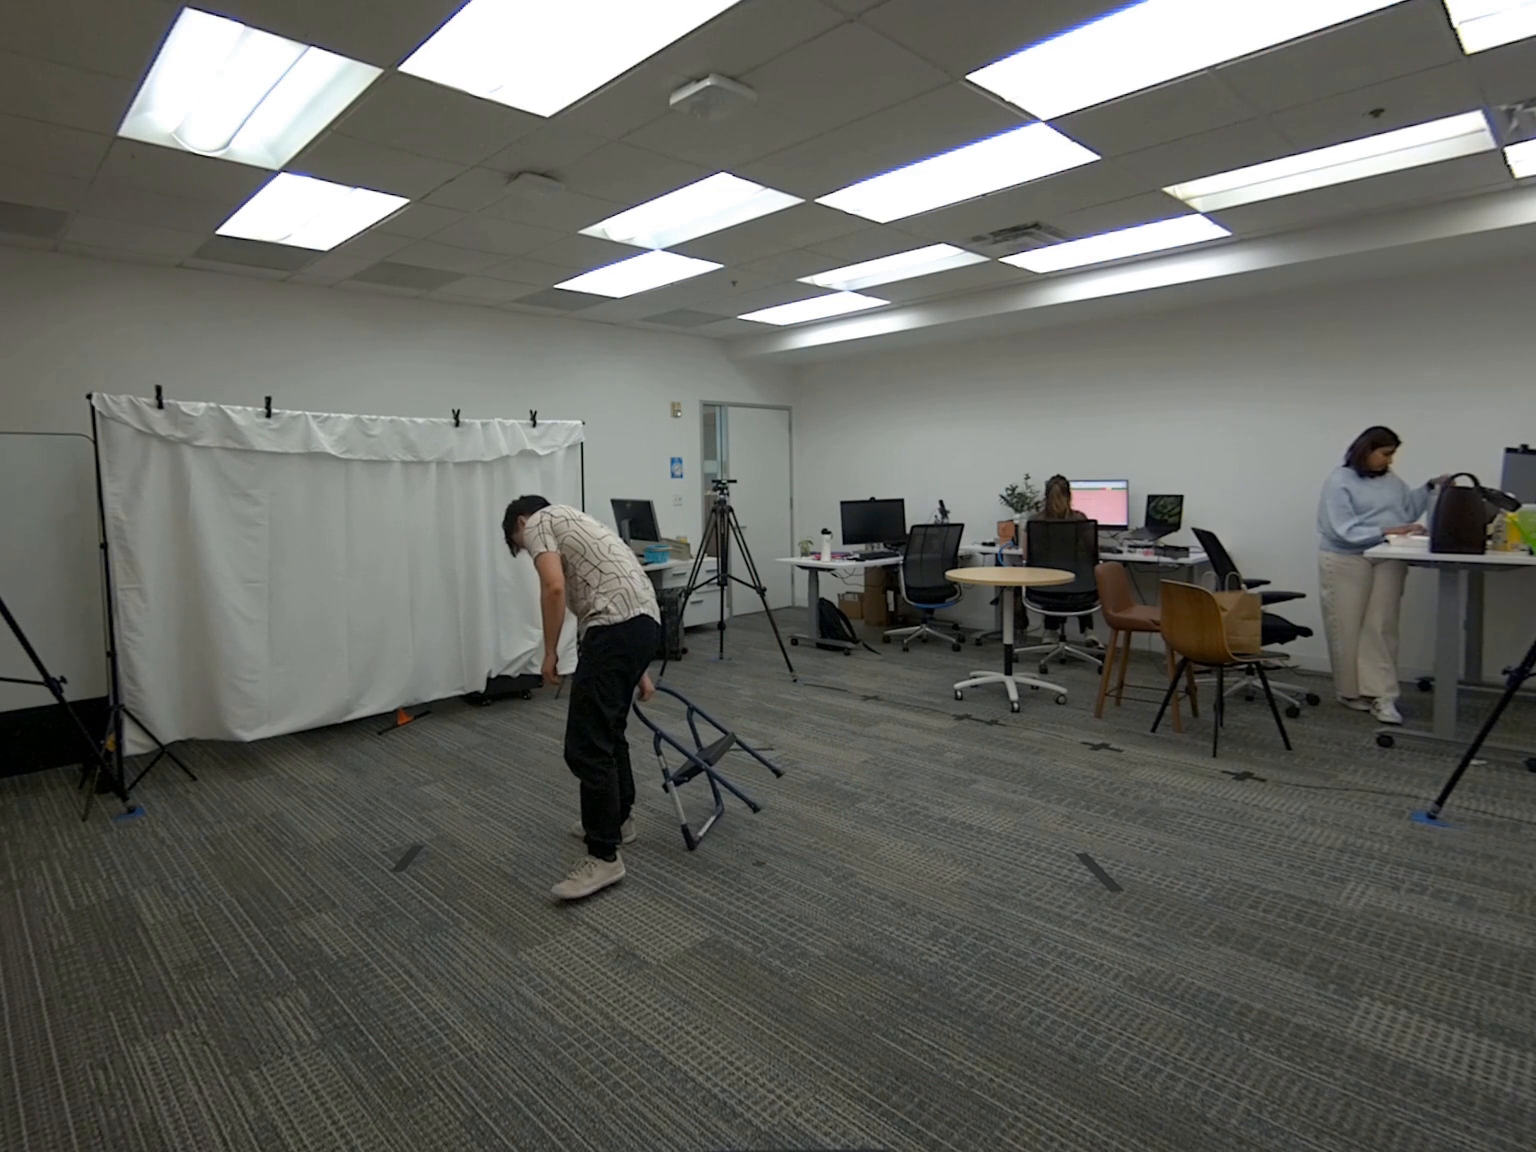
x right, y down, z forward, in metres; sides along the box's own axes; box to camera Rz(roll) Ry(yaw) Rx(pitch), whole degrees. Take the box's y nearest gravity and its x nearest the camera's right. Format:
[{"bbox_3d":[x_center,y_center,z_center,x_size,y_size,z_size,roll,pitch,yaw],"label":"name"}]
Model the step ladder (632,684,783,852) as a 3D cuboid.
[{"bbox_3d":[-0.280,0.679,3.417,0.350,0.611,0.426,-35,-6,14],"label":"step ladder"}]
